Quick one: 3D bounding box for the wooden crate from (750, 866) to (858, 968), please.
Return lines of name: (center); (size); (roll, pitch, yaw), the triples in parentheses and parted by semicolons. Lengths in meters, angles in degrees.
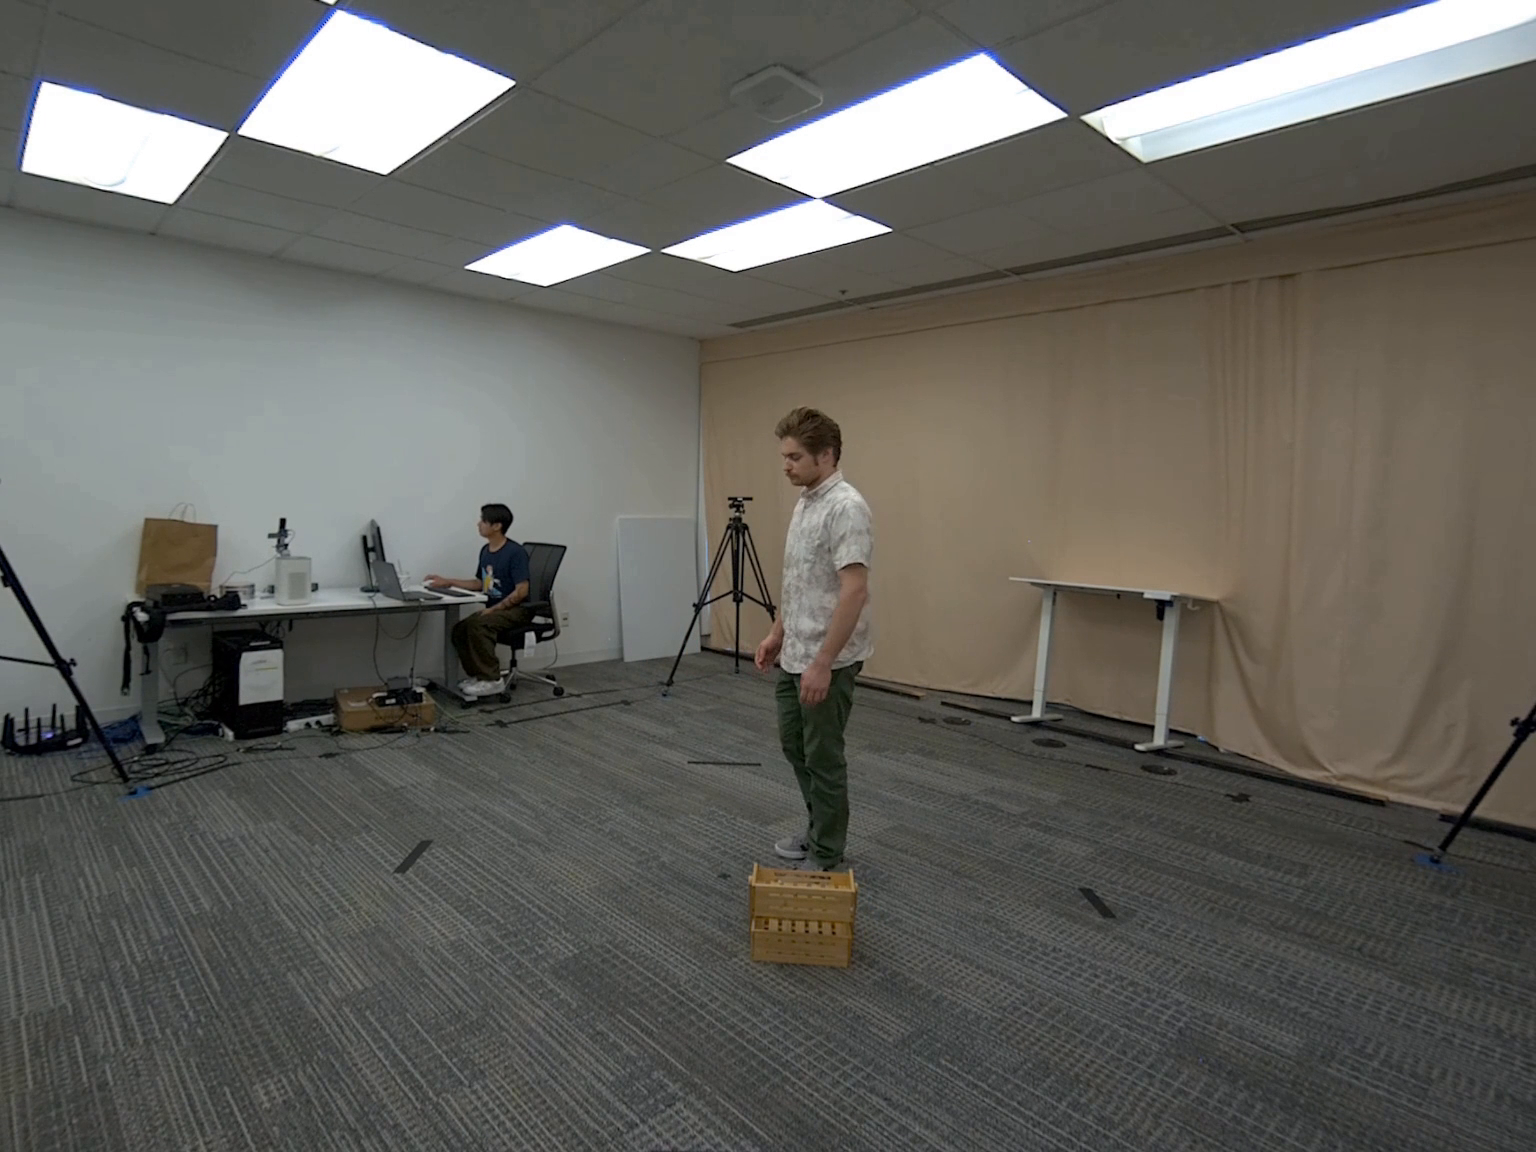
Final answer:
wooden crate: (0.104, 1.022, 2.619); (0.325, 0.272, 0.302); (2, 5, 3)
